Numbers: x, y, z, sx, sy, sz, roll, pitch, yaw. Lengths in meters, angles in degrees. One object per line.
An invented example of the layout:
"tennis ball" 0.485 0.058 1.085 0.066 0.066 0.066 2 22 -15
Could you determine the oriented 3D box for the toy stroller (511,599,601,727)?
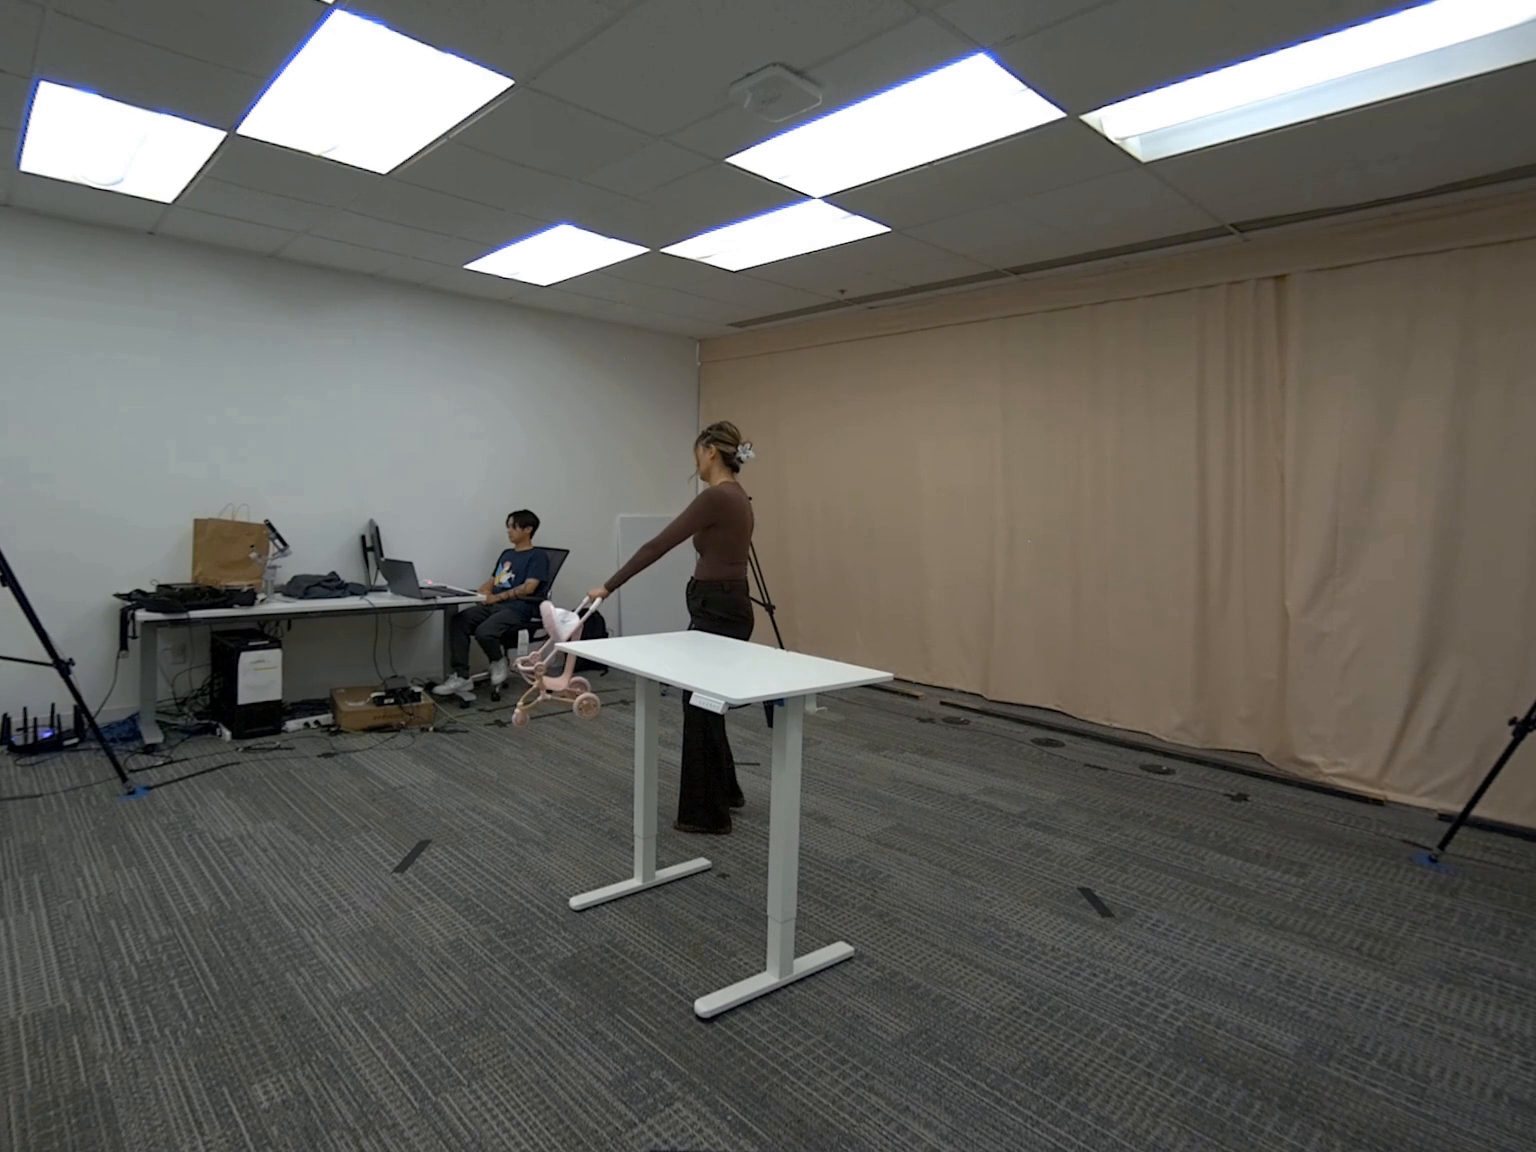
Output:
"toy stroller" -0.855 0.345 3.374 0.337 0.532 0.286 1 7 -17
